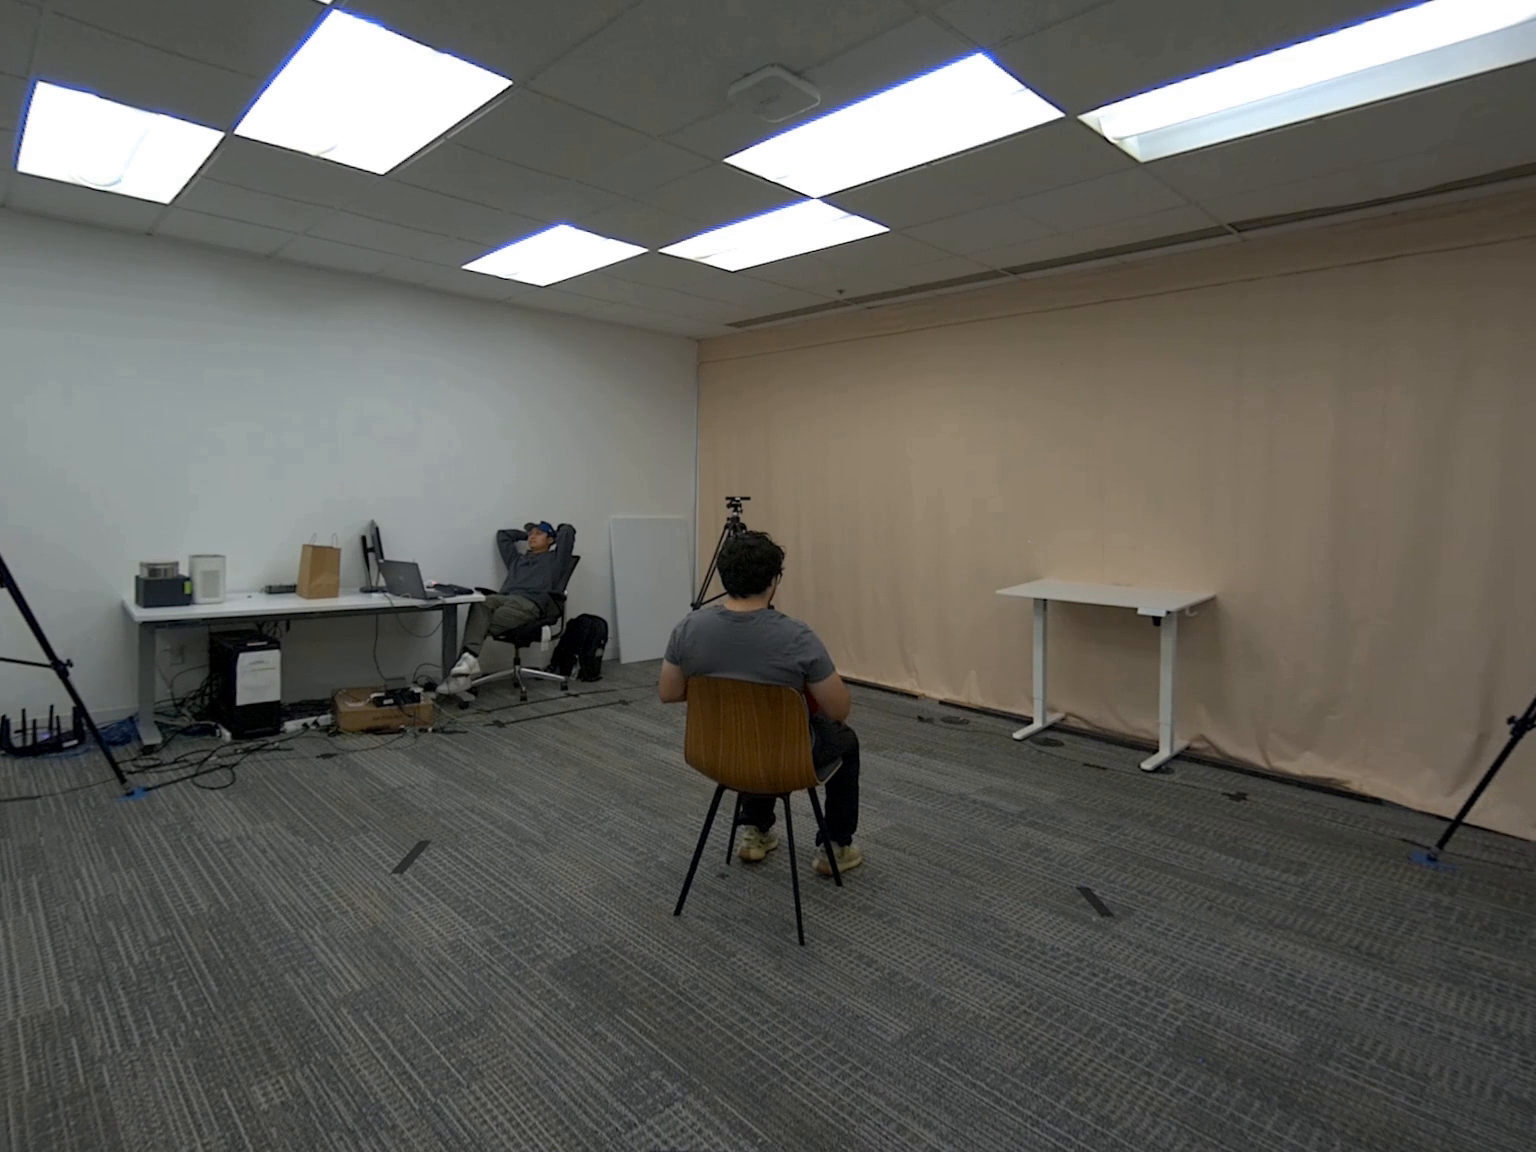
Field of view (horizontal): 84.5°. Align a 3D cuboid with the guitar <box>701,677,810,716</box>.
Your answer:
[{"bbox_3d":[-0.021,0.367,2.995,0.510,0.188,0.071,6,41,34],"label":"guitar"}]
